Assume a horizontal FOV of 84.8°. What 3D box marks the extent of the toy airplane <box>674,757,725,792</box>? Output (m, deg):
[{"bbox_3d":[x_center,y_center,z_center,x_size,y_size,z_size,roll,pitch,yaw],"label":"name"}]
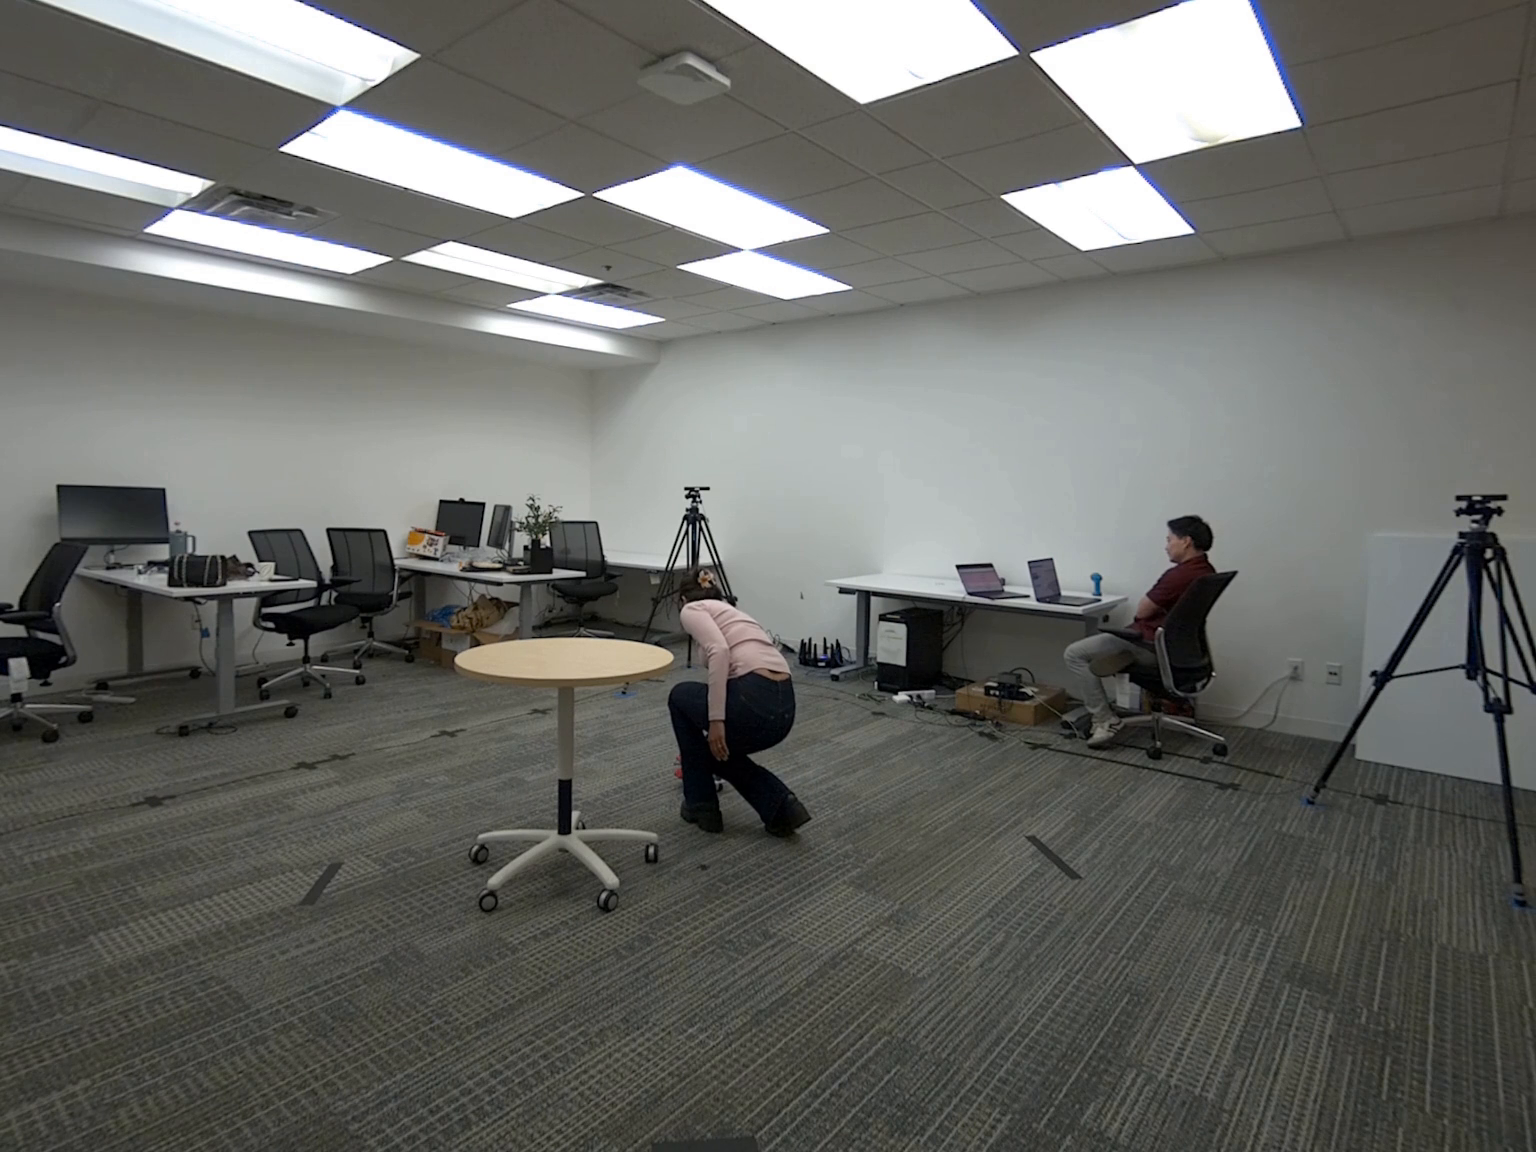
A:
[{"bbox_3d":[-0.298,0.902,3.987,0.266,0.156,0.246,2,5,24],"label":"toy airplane"}]
